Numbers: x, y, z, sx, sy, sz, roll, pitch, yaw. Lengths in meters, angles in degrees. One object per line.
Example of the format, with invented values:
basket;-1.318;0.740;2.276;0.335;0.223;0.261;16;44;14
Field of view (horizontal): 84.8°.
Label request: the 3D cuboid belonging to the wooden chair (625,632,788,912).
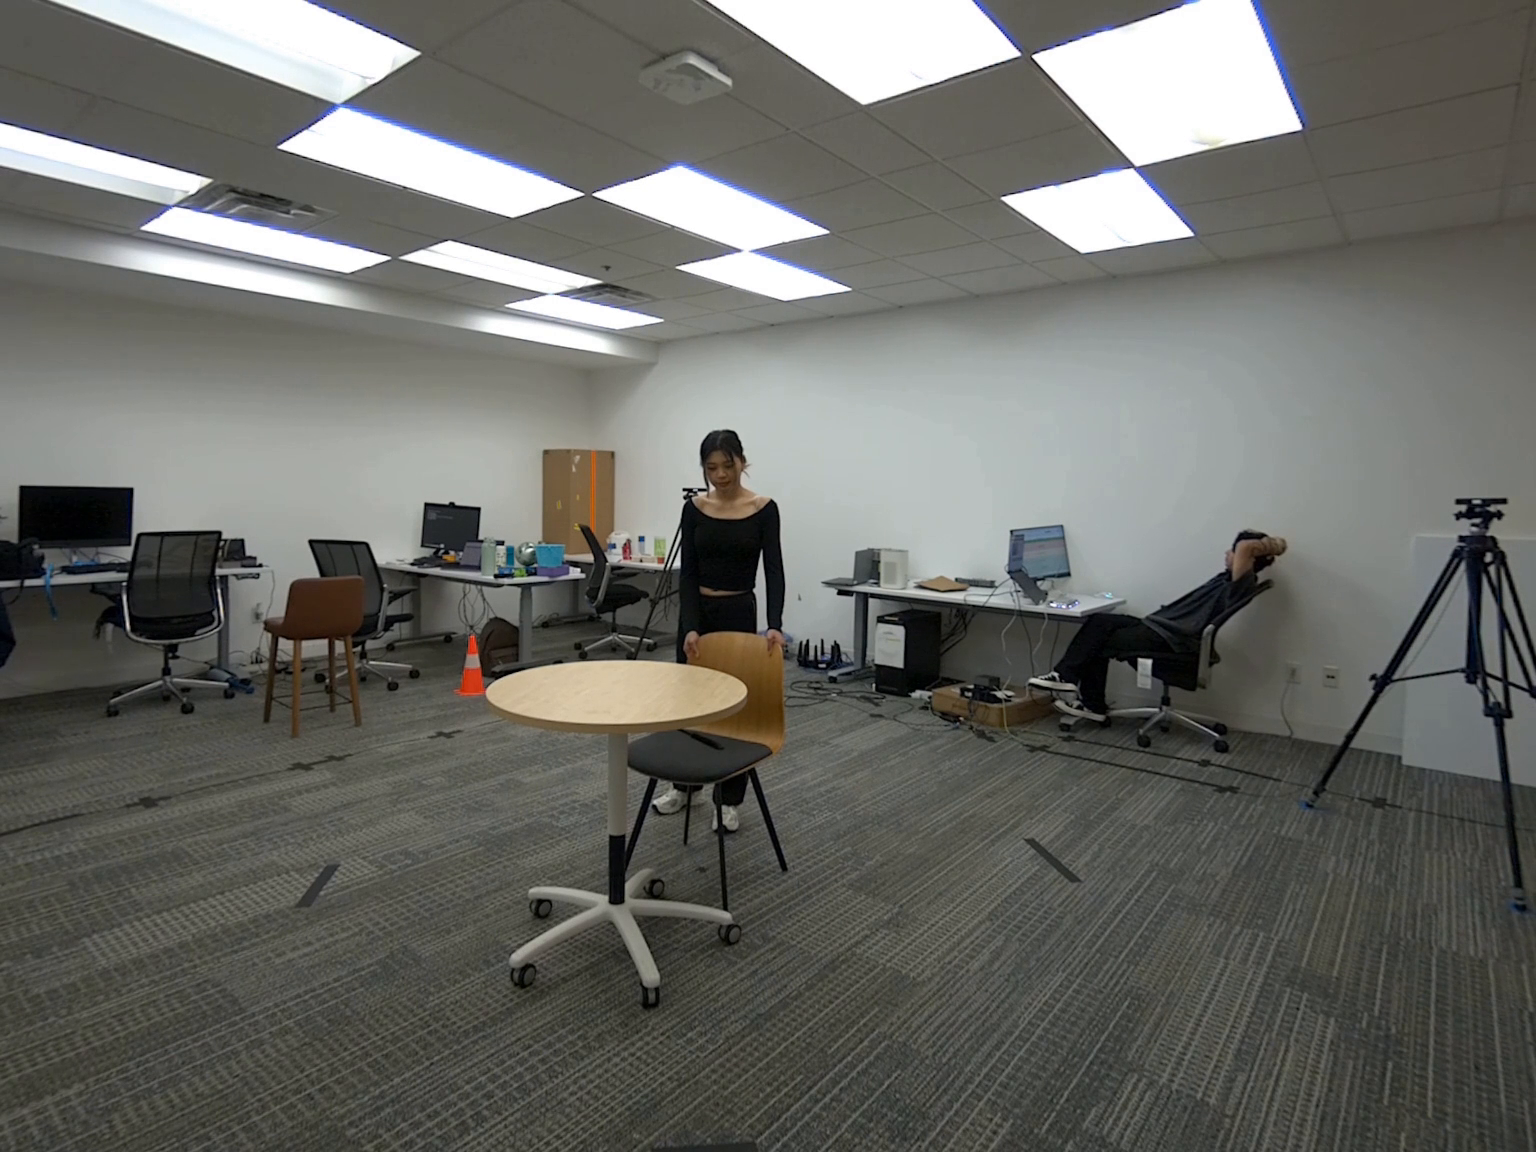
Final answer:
wooden chair;-0.230;0.650;2.998;0.492;0.878;0.508;3;0;29
